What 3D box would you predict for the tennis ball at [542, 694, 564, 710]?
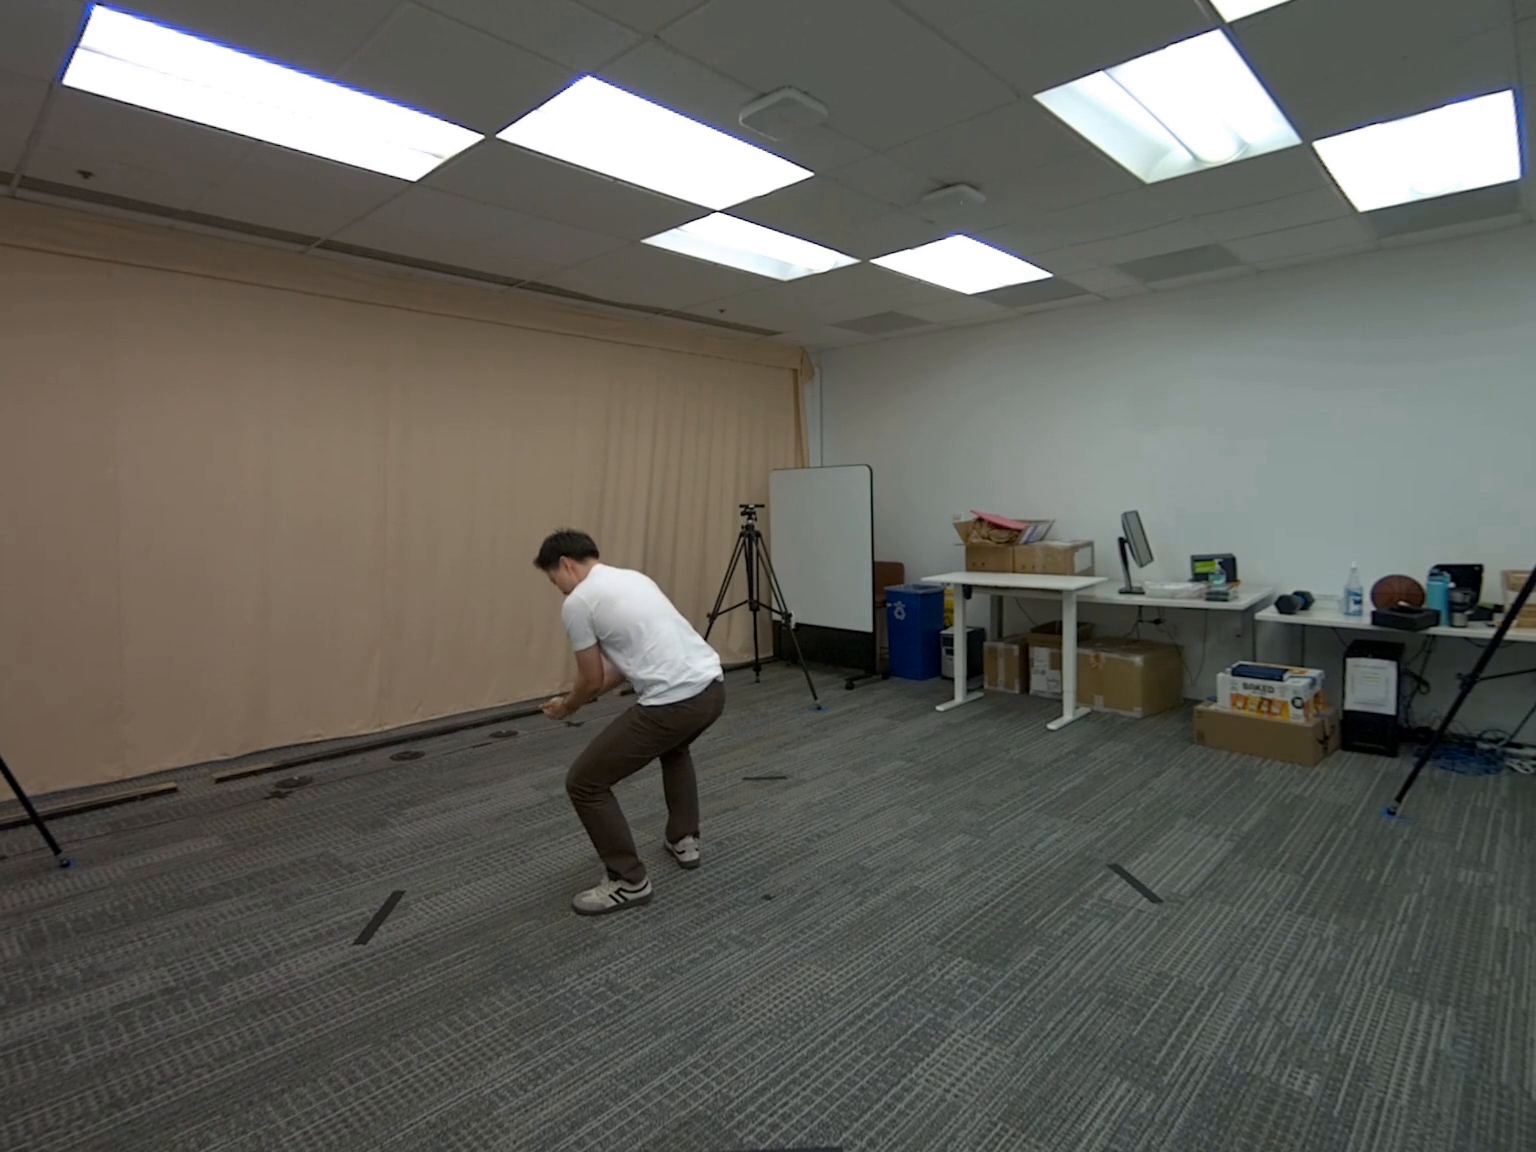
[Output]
[{"bbox_3d":[-0.813,0.490,3.291,0.066,0.066,0.067,-1,4,-2],"label":"tennis ball"}]
